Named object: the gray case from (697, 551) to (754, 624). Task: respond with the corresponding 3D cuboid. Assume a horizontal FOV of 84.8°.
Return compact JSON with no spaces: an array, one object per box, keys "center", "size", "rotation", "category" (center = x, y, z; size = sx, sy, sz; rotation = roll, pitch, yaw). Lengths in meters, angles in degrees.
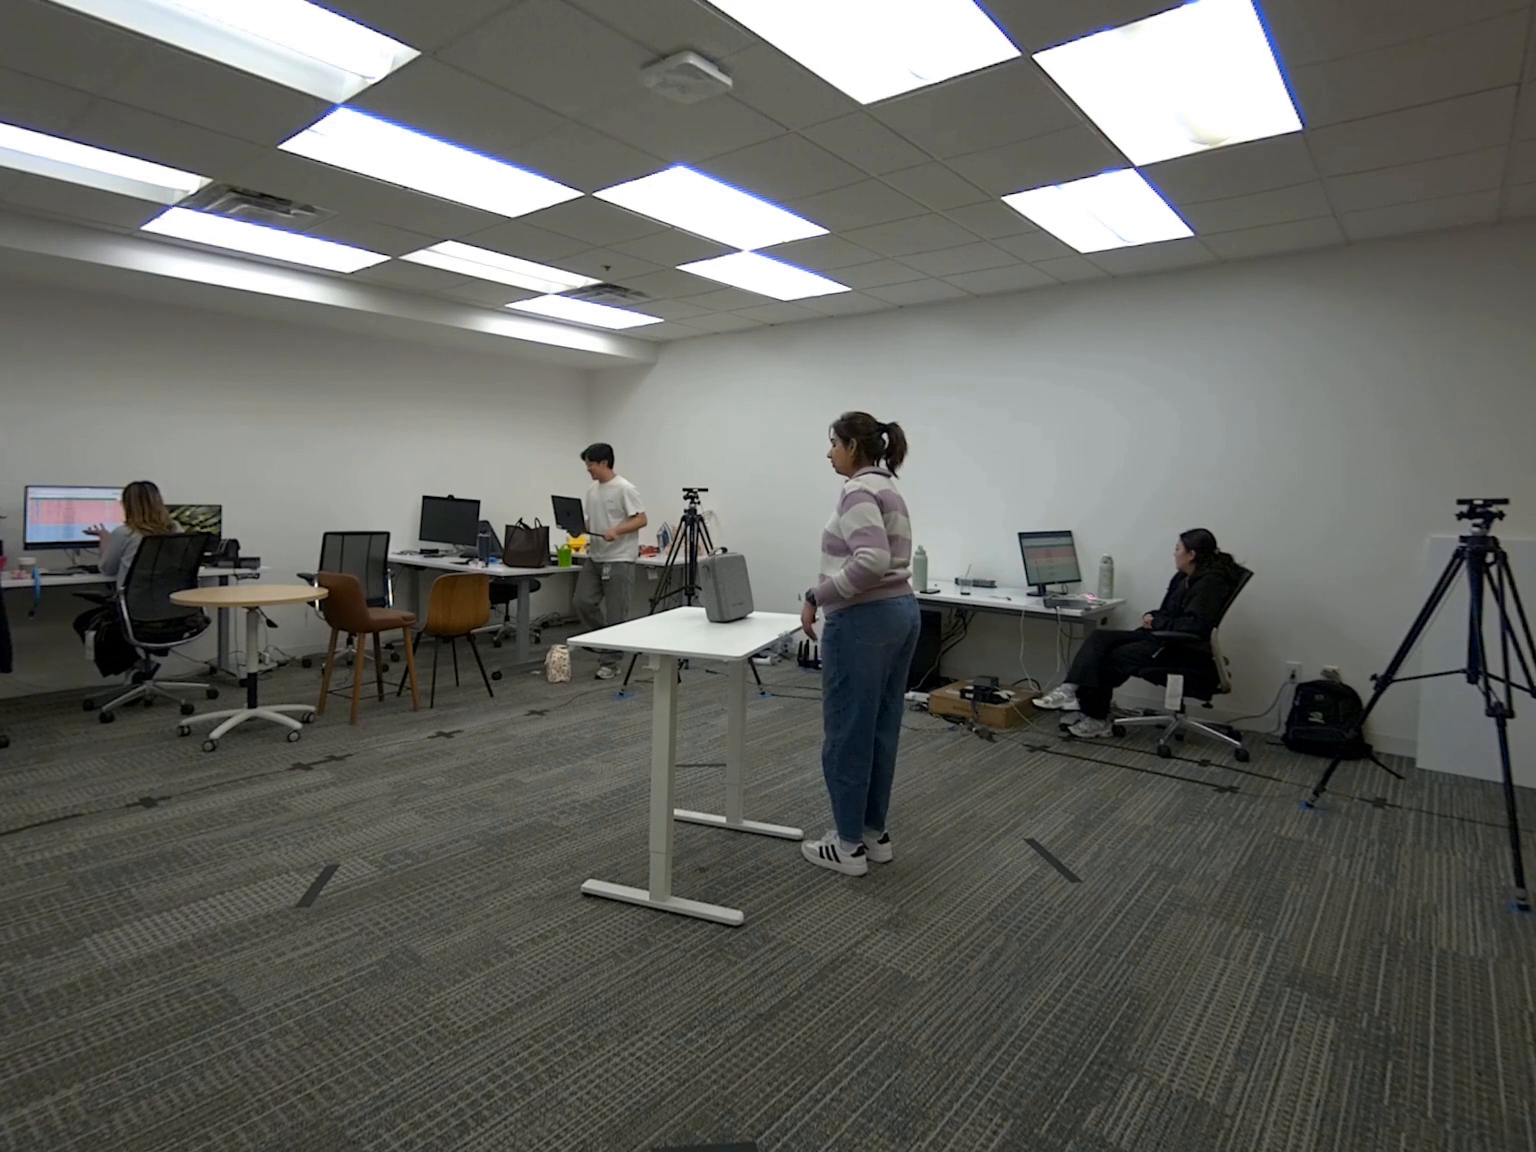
[{"center":[-0.179,0.035,3.334],"size":[0.106,0.262,0.251],"rotation":[-12,-3,25],"category":"gray case"}]
